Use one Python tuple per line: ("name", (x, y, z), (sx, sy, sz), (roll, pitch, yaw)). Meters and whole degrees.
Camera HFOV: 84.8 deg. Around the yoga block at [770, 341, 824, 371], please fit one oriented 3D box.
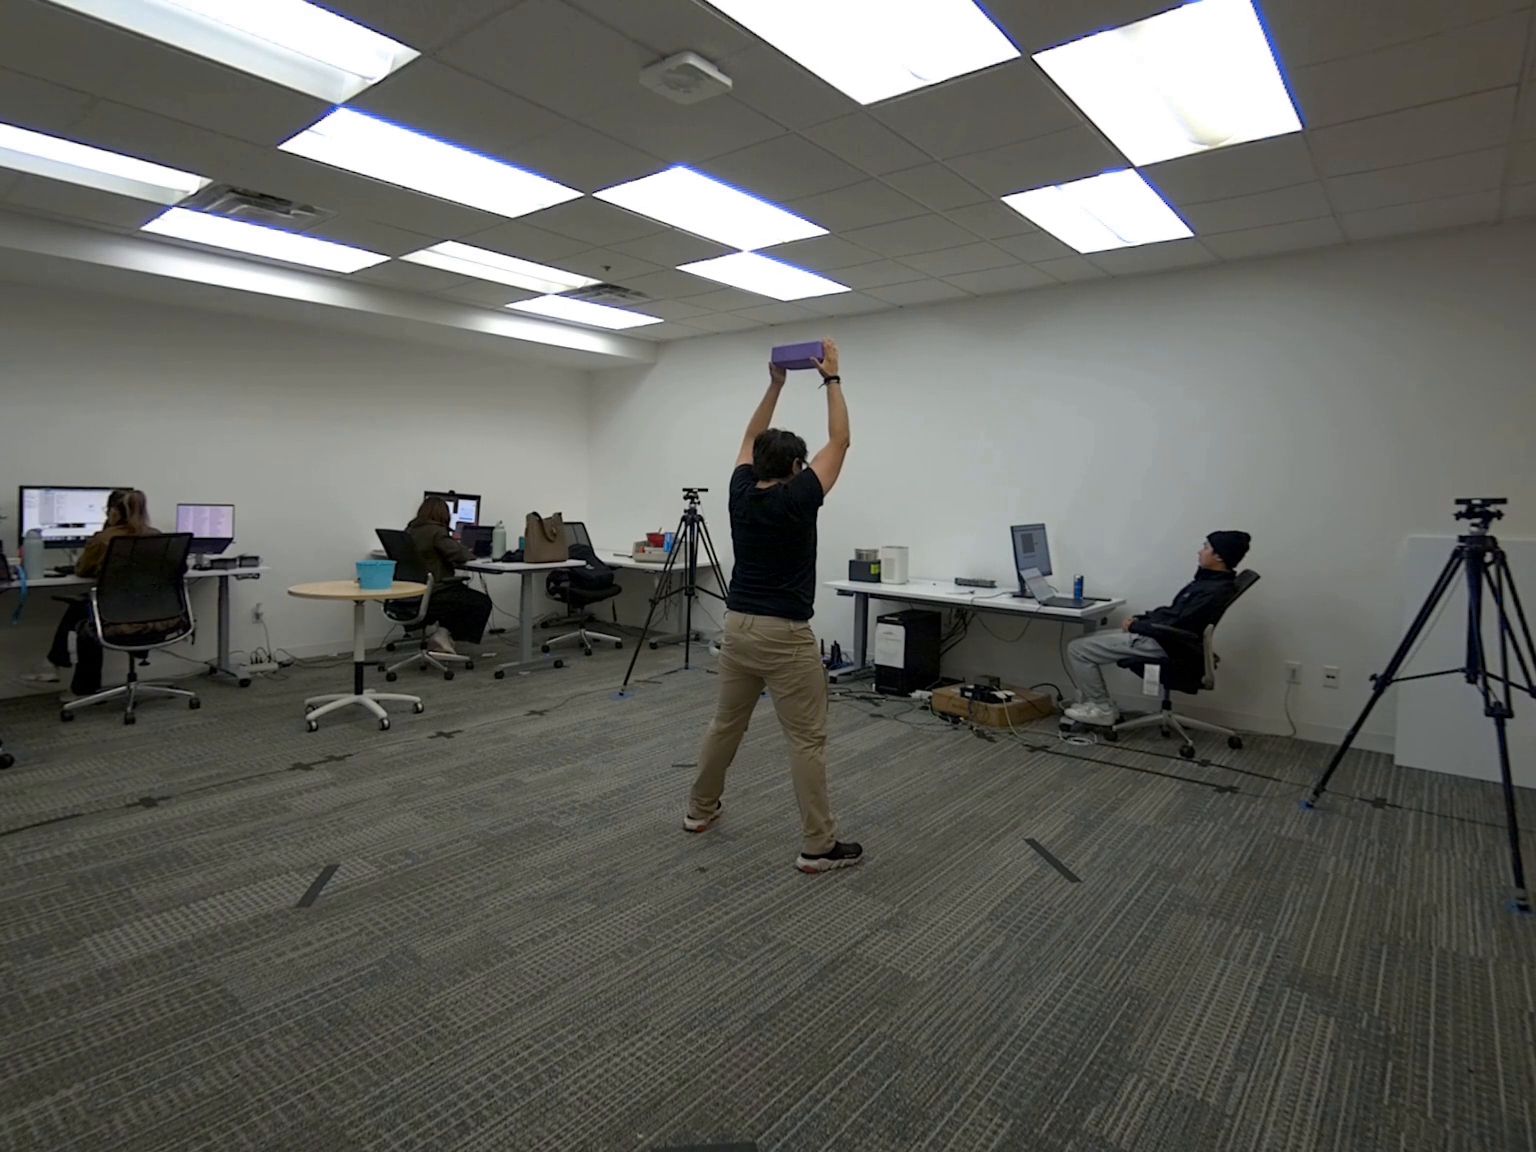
("yoga block", (0.136, -0.886, 3.407), (0.237, 0.076, 0.144), (4, 0, 40))
